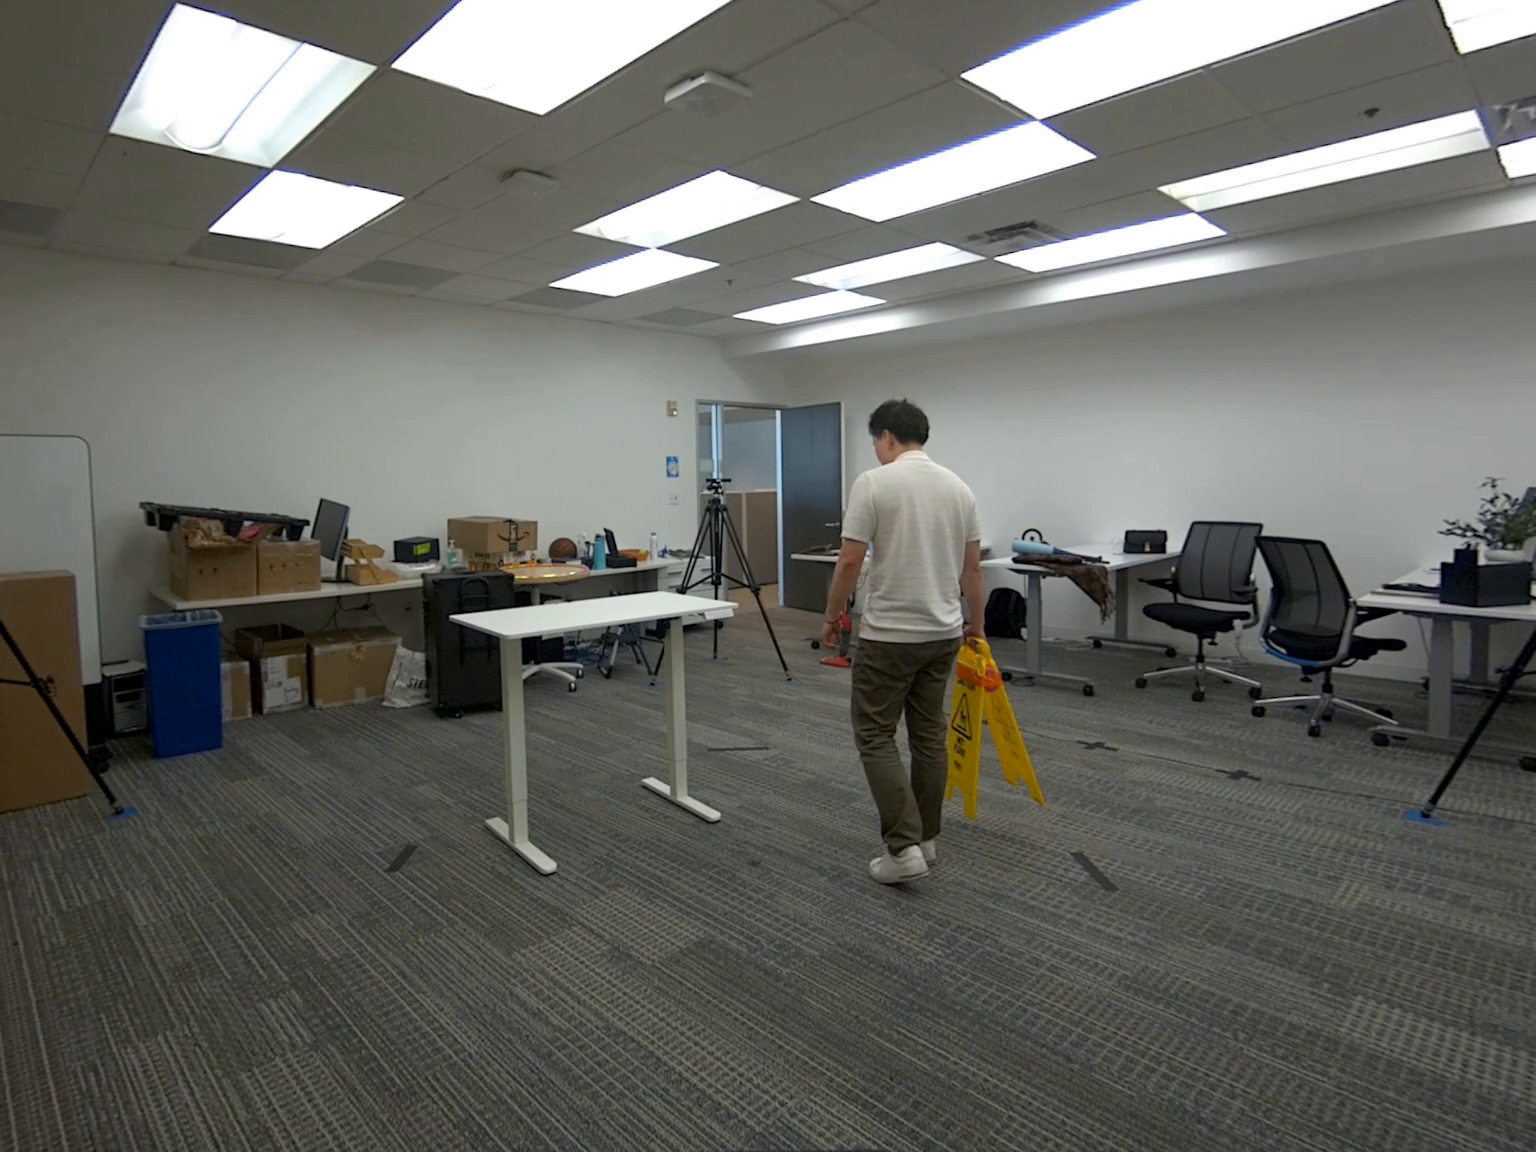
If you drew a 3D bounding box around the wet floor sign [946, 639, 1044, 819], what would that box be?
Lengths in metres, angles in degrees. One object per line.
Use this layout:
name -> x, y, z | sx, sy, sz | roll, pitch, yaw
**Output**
wet floor sign -> 0.824, 0.549, 3.276 | 0.287, 0.642, 0.286 | -8, 7, -10
